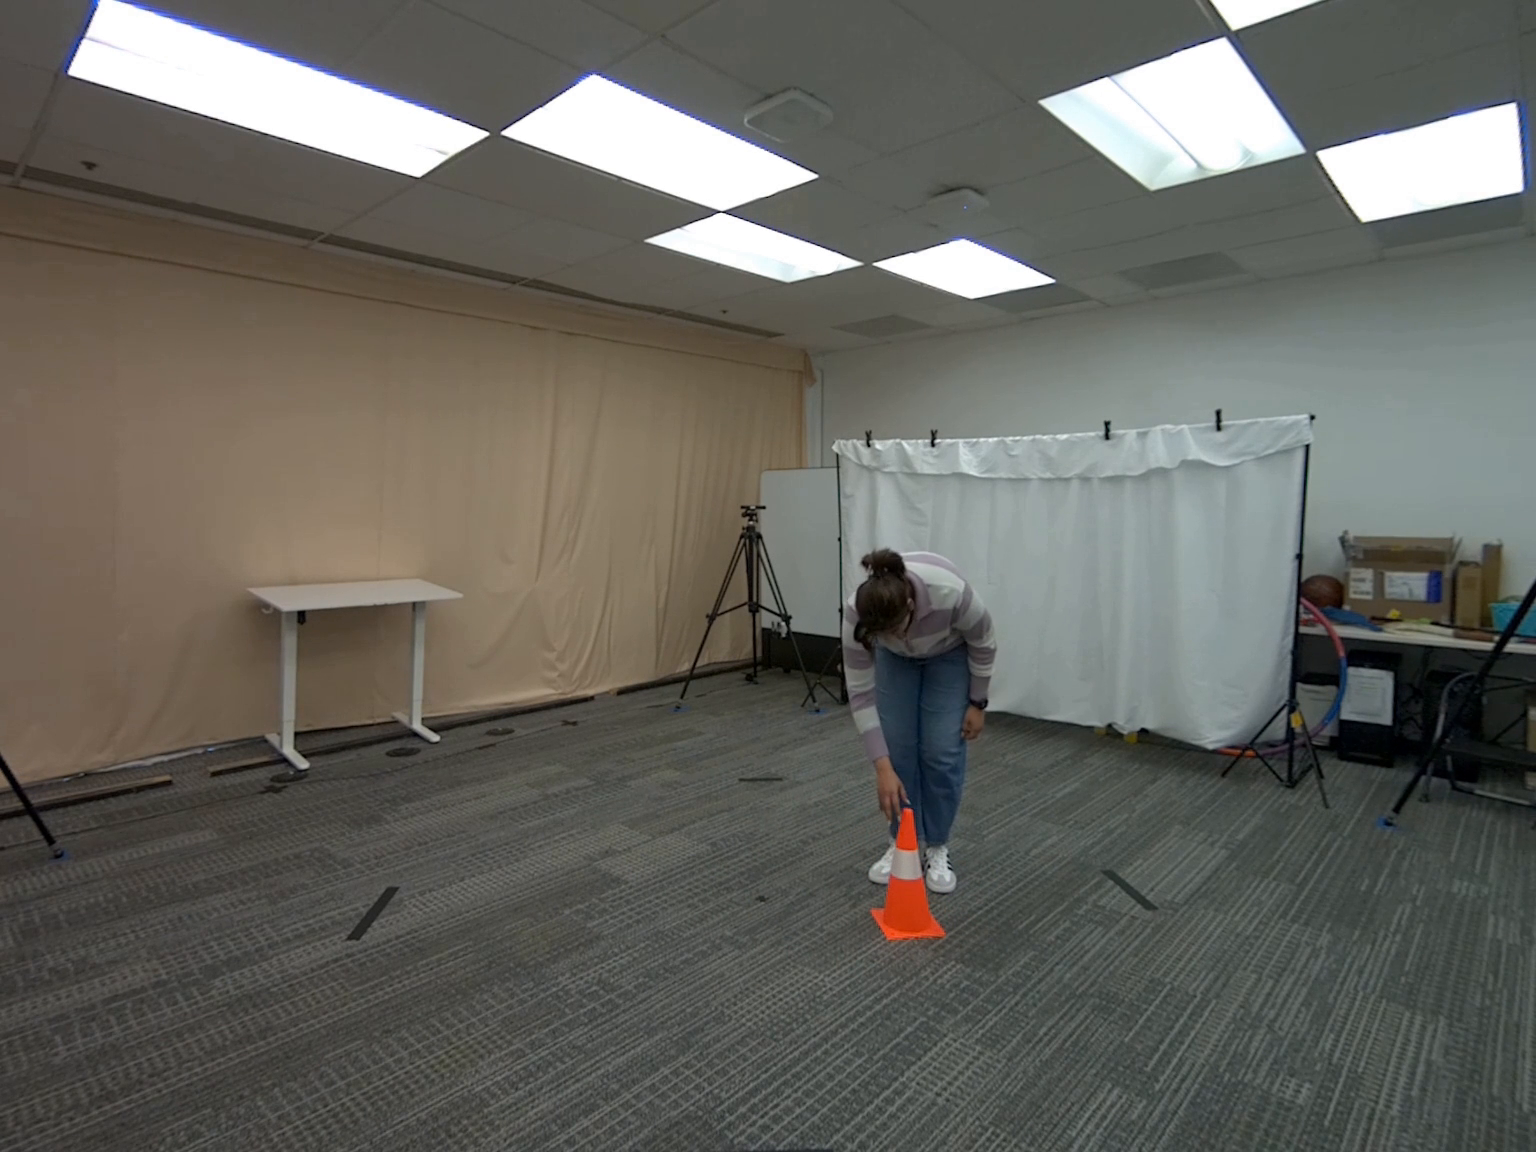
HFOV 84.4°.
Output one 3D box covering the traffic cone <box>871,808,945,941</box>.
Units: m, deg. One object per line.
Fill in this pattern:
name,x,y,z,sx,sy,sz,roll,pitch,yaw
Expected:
traffic cone,0.465,0.968,2.802,0.201,0.383,0.207,-3,4,-10
